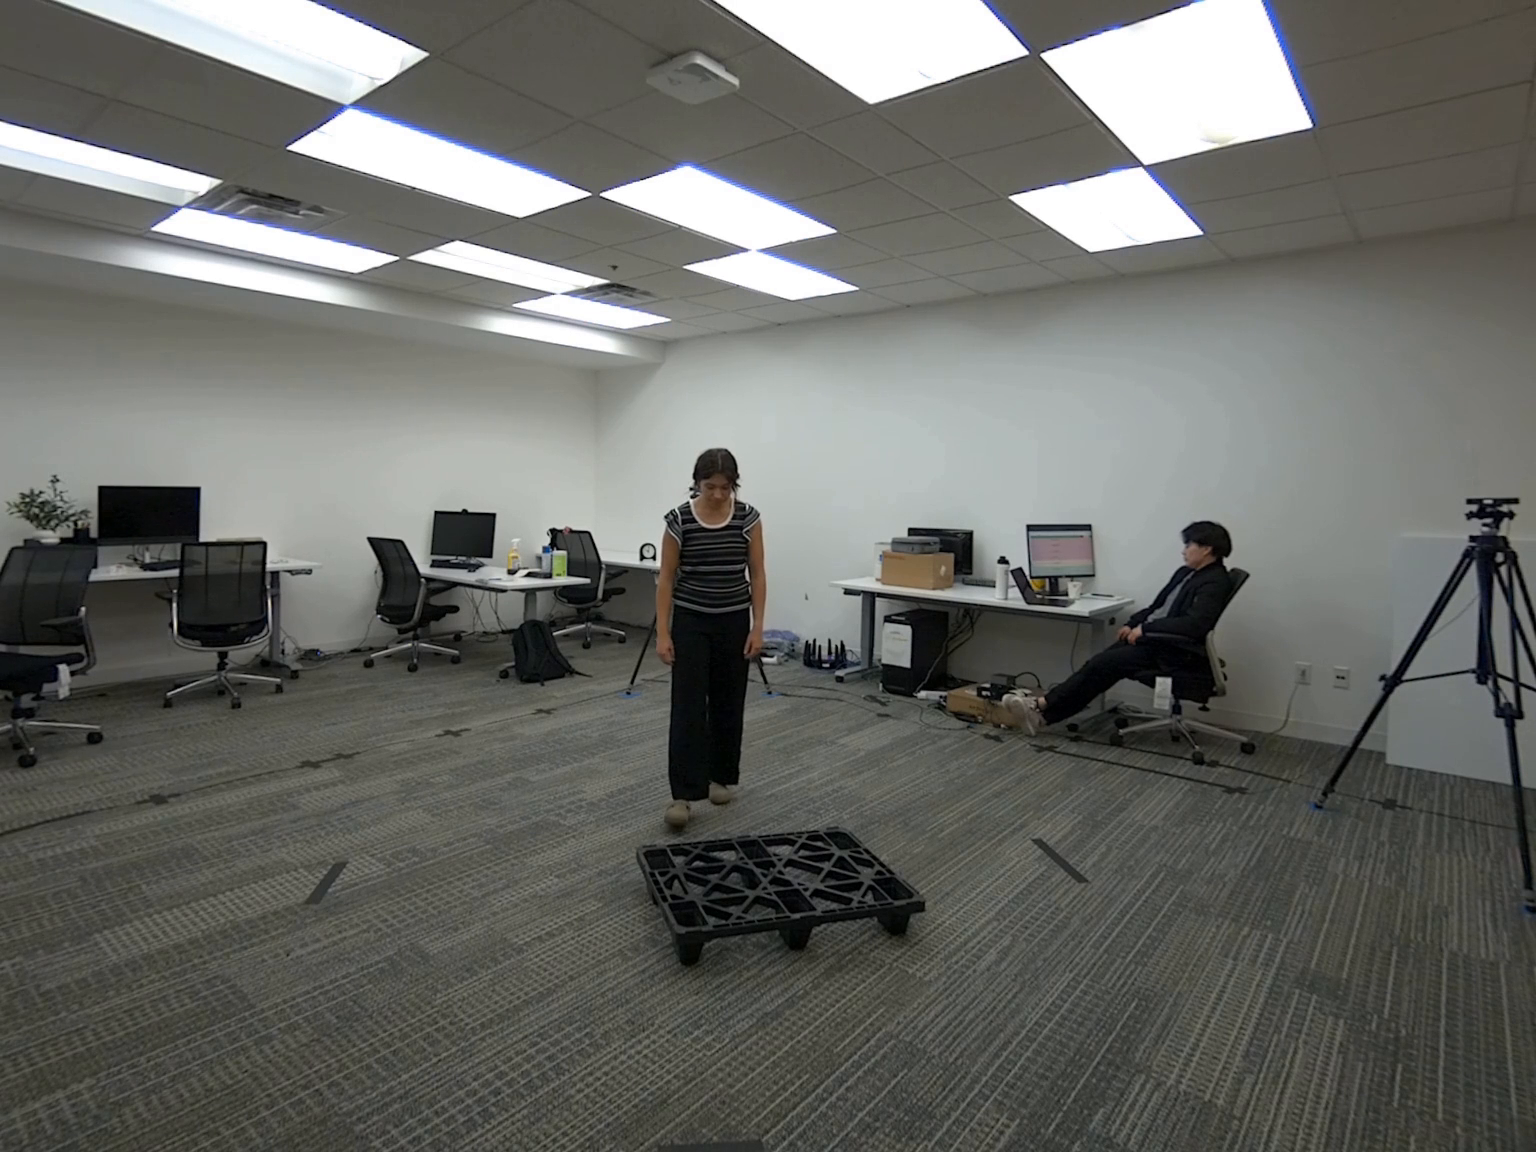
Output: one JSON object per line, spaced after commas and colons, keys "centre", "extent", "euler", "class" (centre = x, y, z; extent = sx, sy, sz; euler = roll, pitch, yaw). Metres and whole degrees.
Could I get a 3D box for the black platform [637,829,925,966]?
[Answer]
{"centre": [0.007, 1.032, 2.795], "extent": [0.791, 0.143, 0.619], "euler": [-1, 7, -18], "class": "black platform"}
